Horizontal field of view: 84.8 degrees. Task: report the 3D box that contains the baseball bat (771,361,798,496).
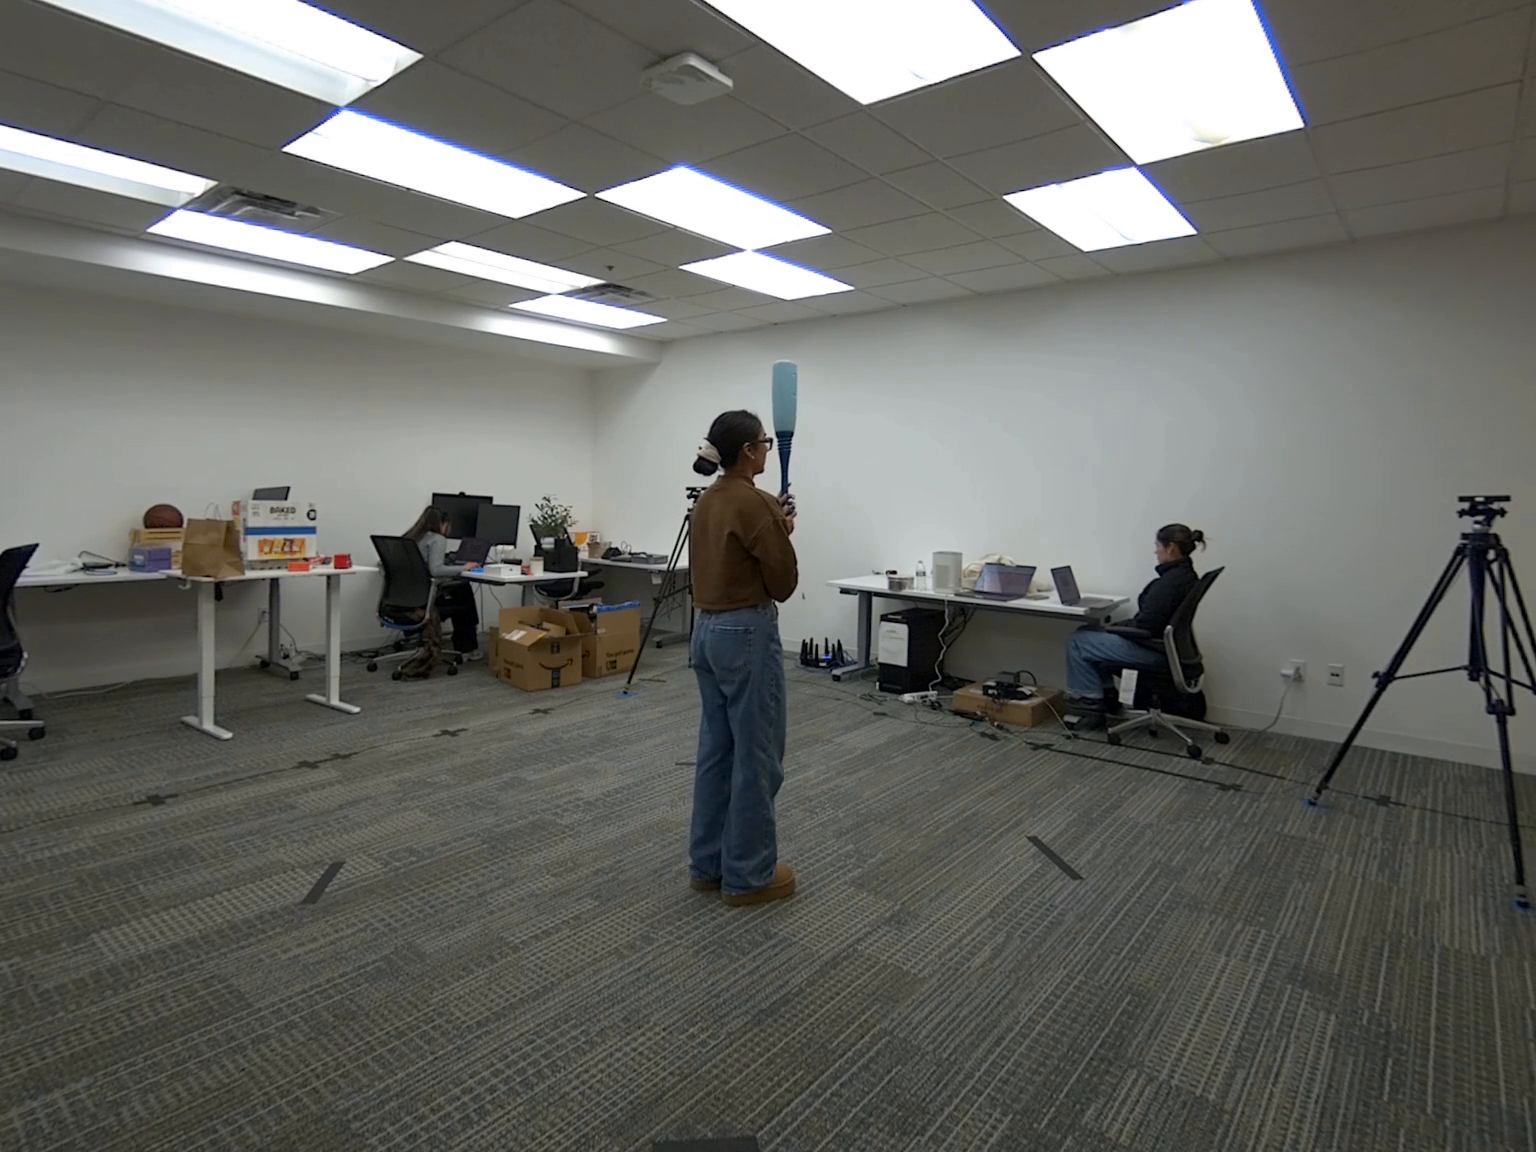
[{"bbox_3d":[0.050,-0.488,2.986,0.089,0.545,0.089,2,-3,-2],"label":"baseball bat"}]
